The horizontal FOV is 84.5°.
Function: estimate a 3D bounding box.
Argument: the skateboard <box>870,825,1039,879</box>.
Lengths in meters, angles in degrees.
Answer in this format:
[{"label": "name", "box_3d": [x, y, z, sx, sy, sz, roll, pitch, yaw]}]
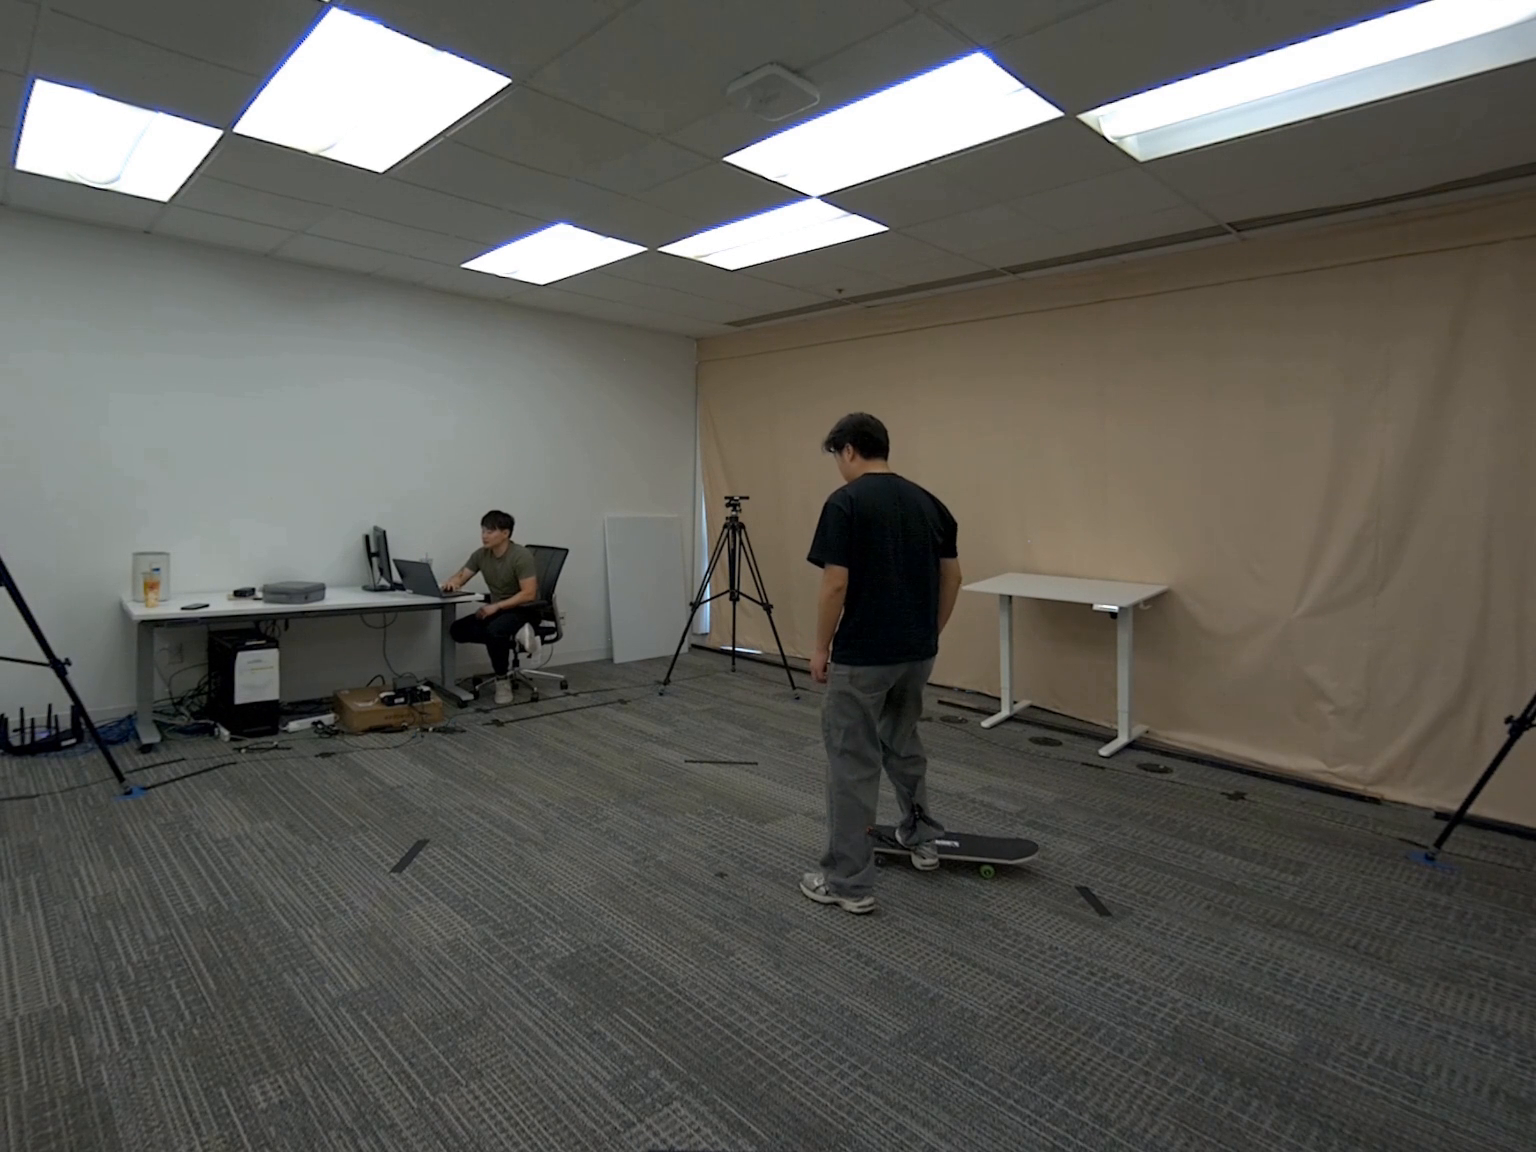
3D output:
[{"label": "skateboard", "box_3d": [0.620, 1.053, 3.248, 0.792, 0.110, 0.193, 2, 8, 11]}]
